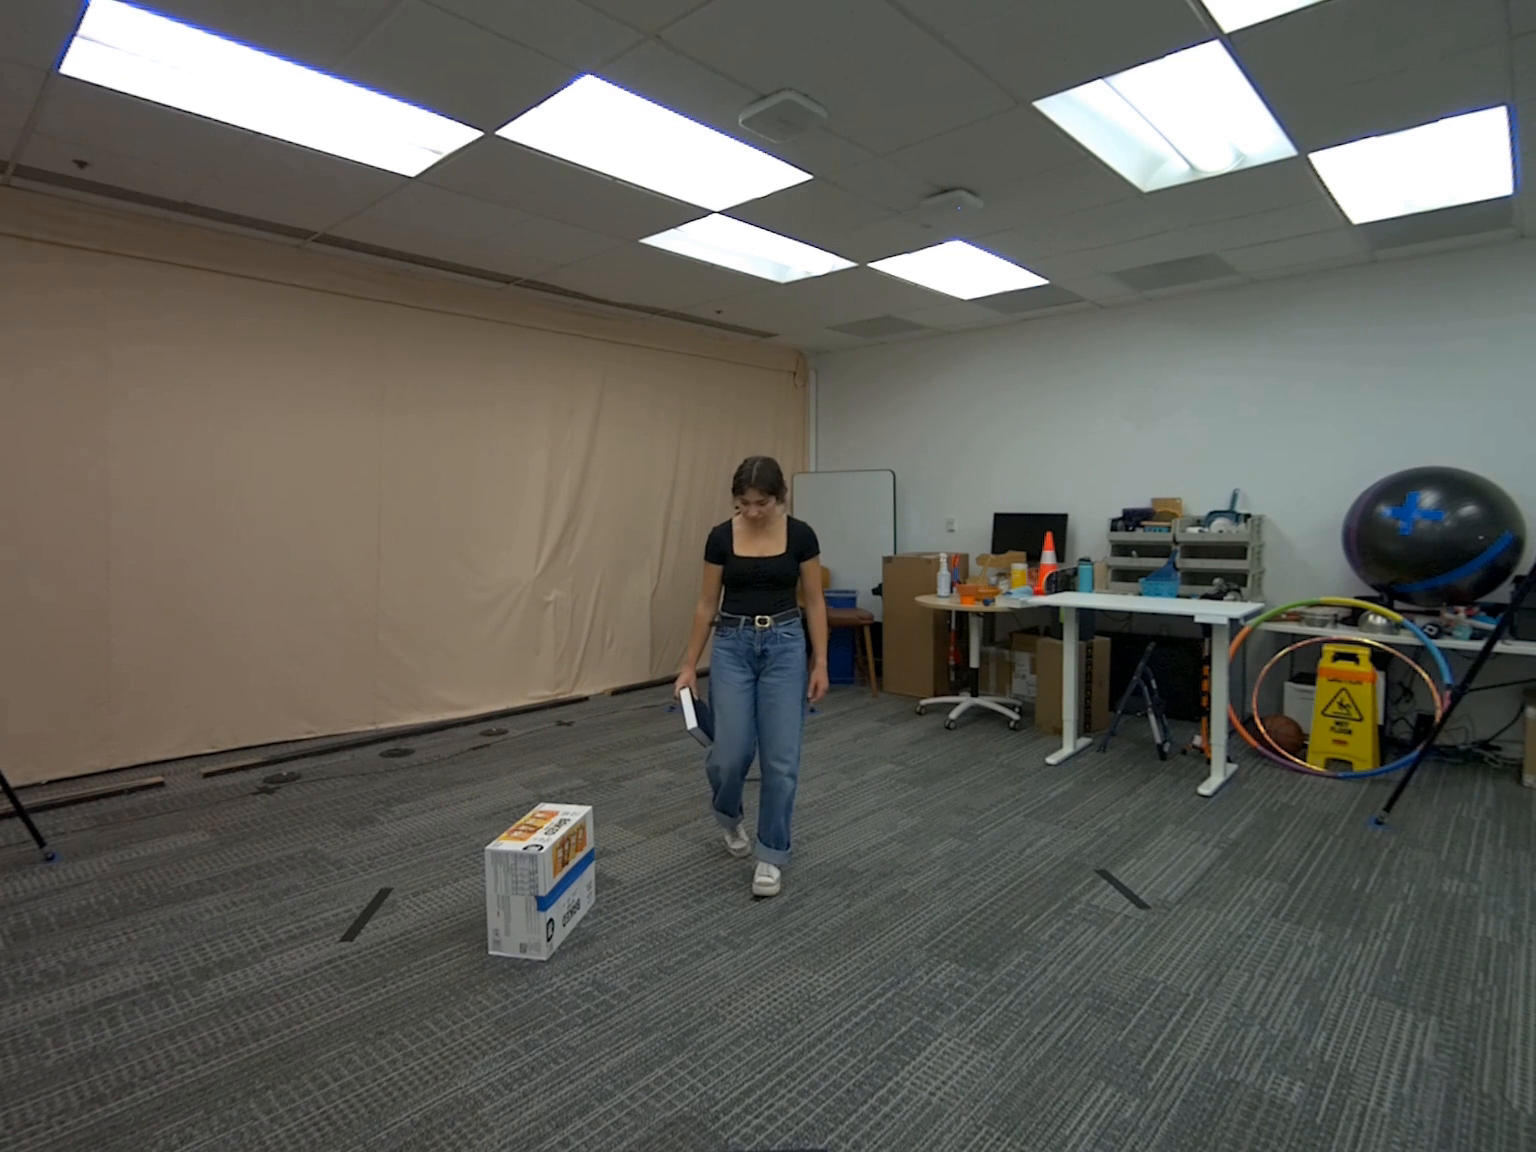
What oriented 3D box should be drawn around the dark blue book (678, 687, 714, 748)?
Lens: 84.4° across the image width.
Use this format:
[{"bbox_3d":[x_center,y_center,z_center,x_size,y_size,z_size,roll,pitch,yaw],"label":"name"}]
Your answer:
[{"bbox_3d":[-0.263,0.538,3.168,0.045,0.167,0.238,-18,-30,5],"label":"dark blue book"}]
